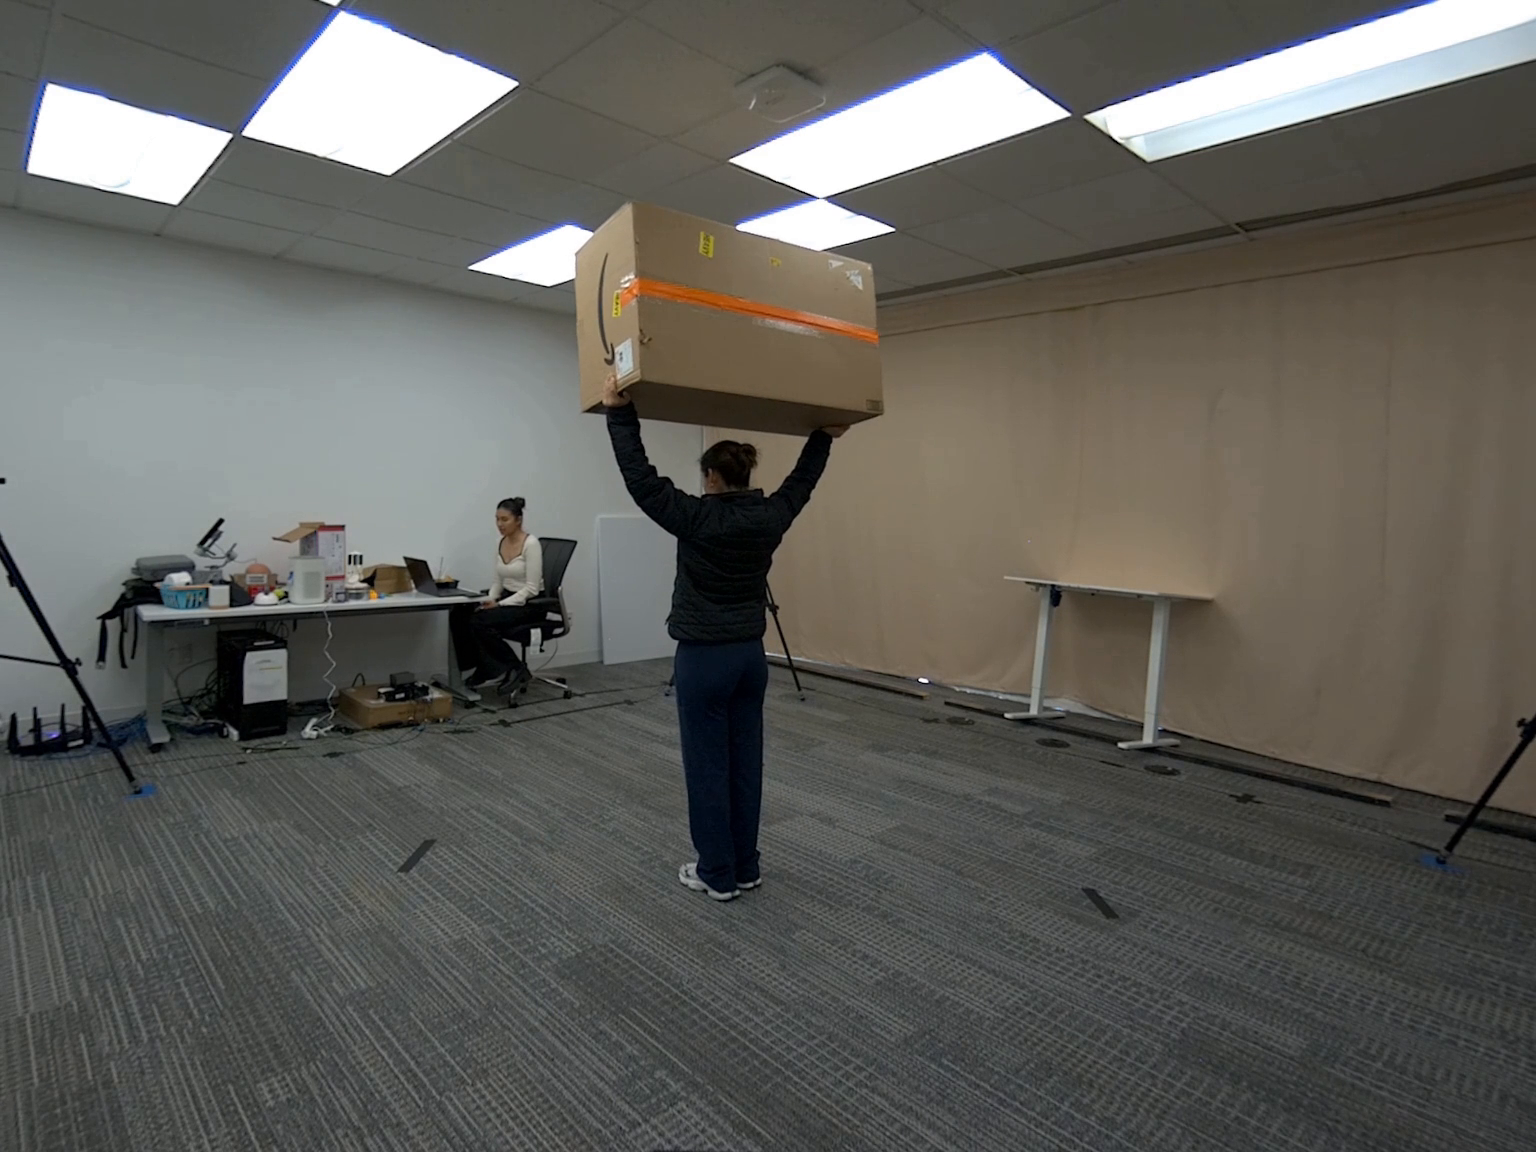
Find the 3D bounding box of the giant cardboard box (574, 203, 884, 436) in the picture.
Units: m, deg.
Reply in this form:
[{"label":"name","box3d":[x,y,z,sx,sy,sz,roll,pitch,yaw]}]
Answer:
[{"label":"giant cardboard box","box3d":[-0.128,-0.851,2.993,1.004,0.586,0.455,-1,-4,-37]}]
